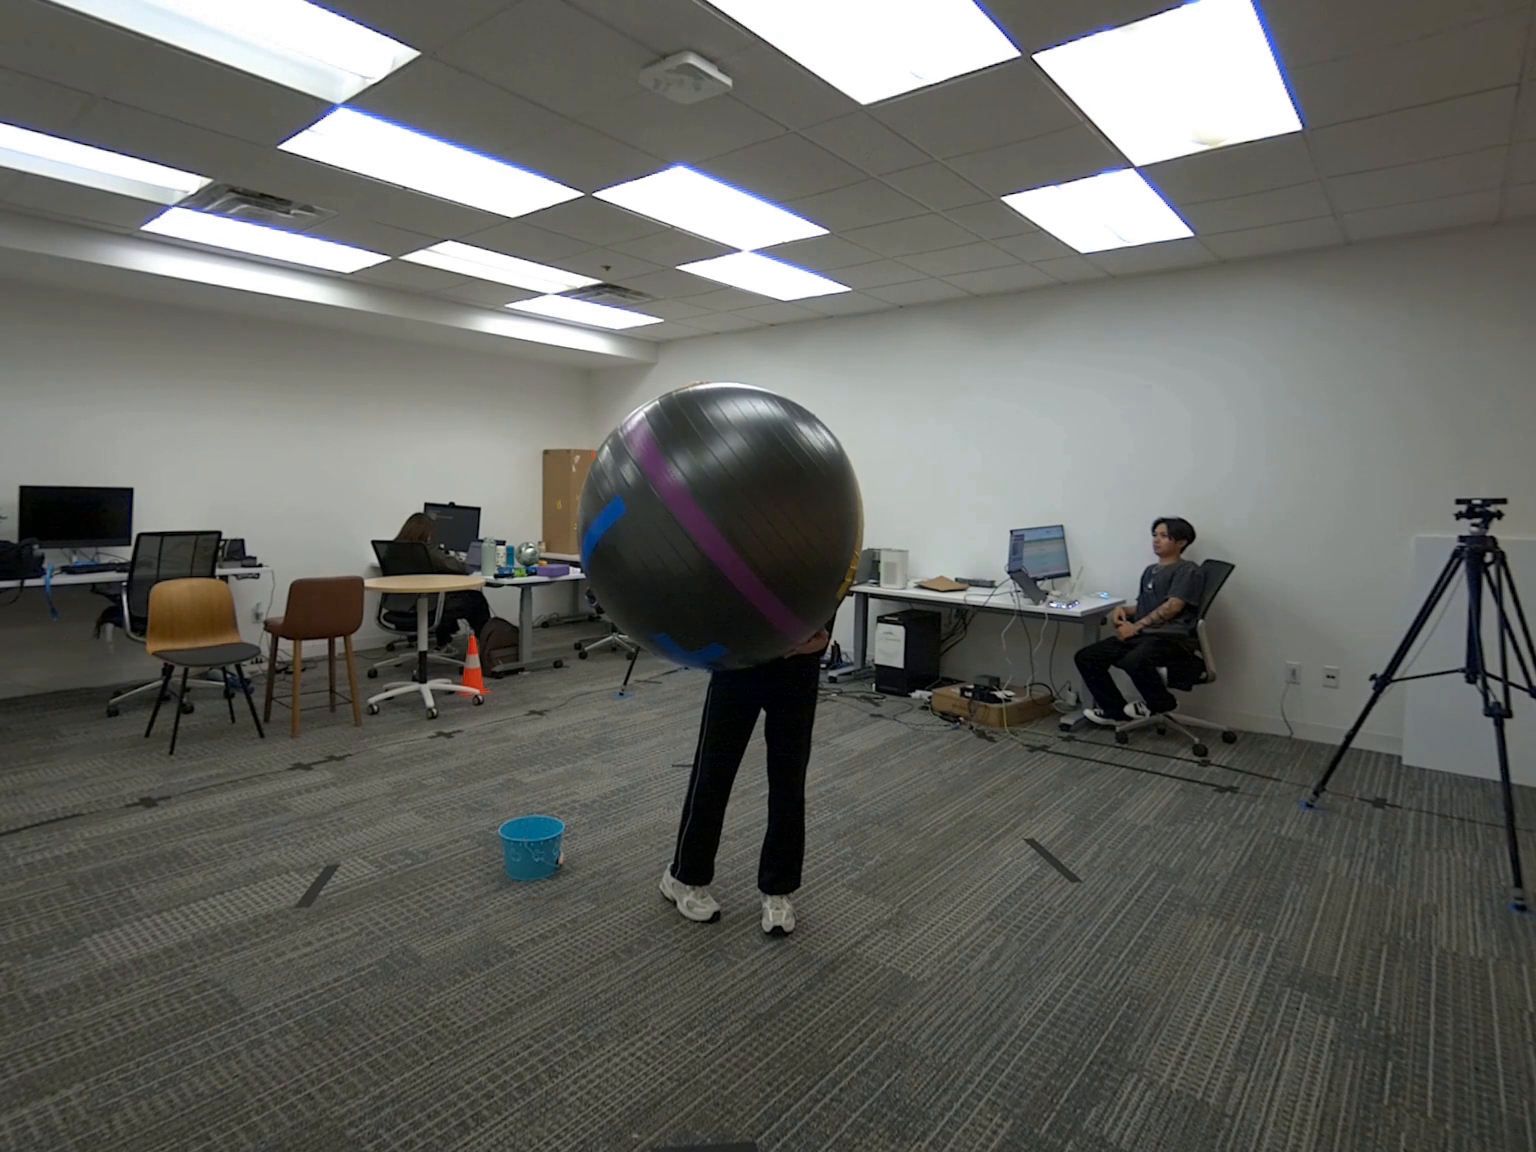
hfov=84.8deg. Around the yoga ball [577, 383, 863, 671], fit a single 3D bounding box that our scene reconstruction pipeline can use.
[{"bbox_3d":[-0.133,-0.125,2.259,0.757,0.755,0.762,1,4,-2],"label":"yoga ball"}]
